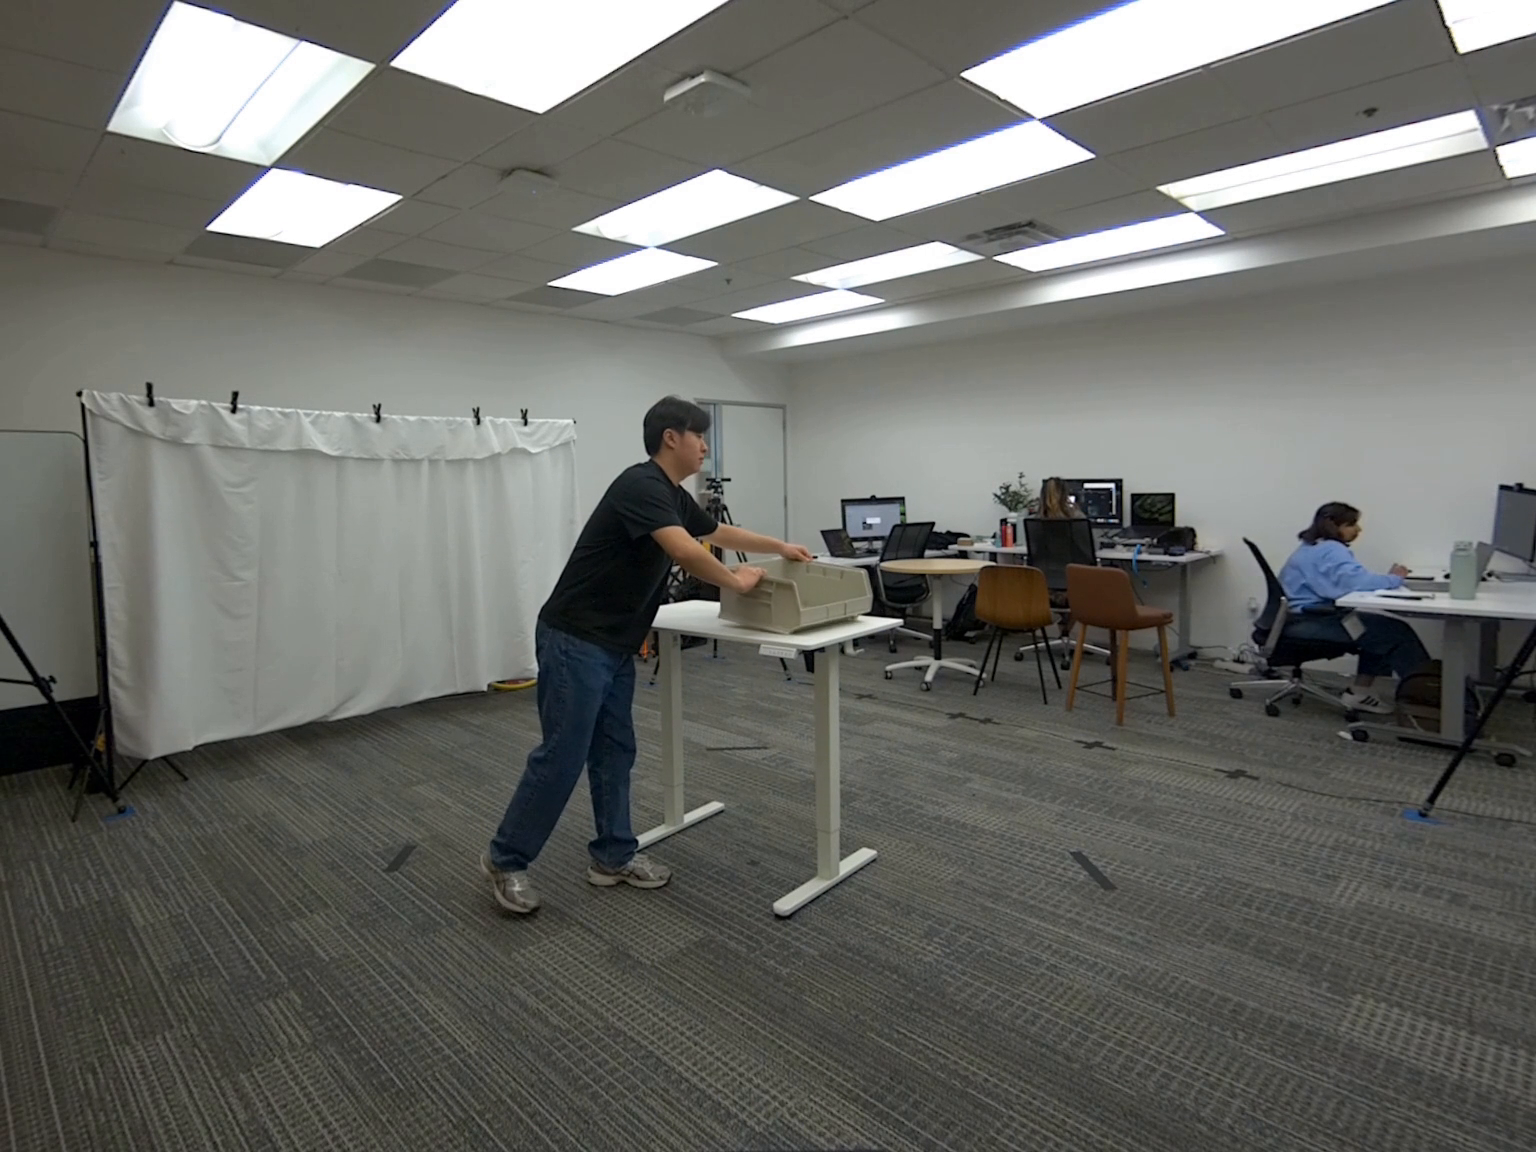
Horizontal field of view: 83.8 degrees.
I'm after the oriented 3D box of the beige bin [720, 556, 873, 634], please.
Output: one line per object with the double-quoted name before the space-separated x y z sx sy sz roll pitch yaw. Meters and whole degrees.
"beige bin" 0.095 0.060 2.987 0.389 0.188 0.411 8 11 41
